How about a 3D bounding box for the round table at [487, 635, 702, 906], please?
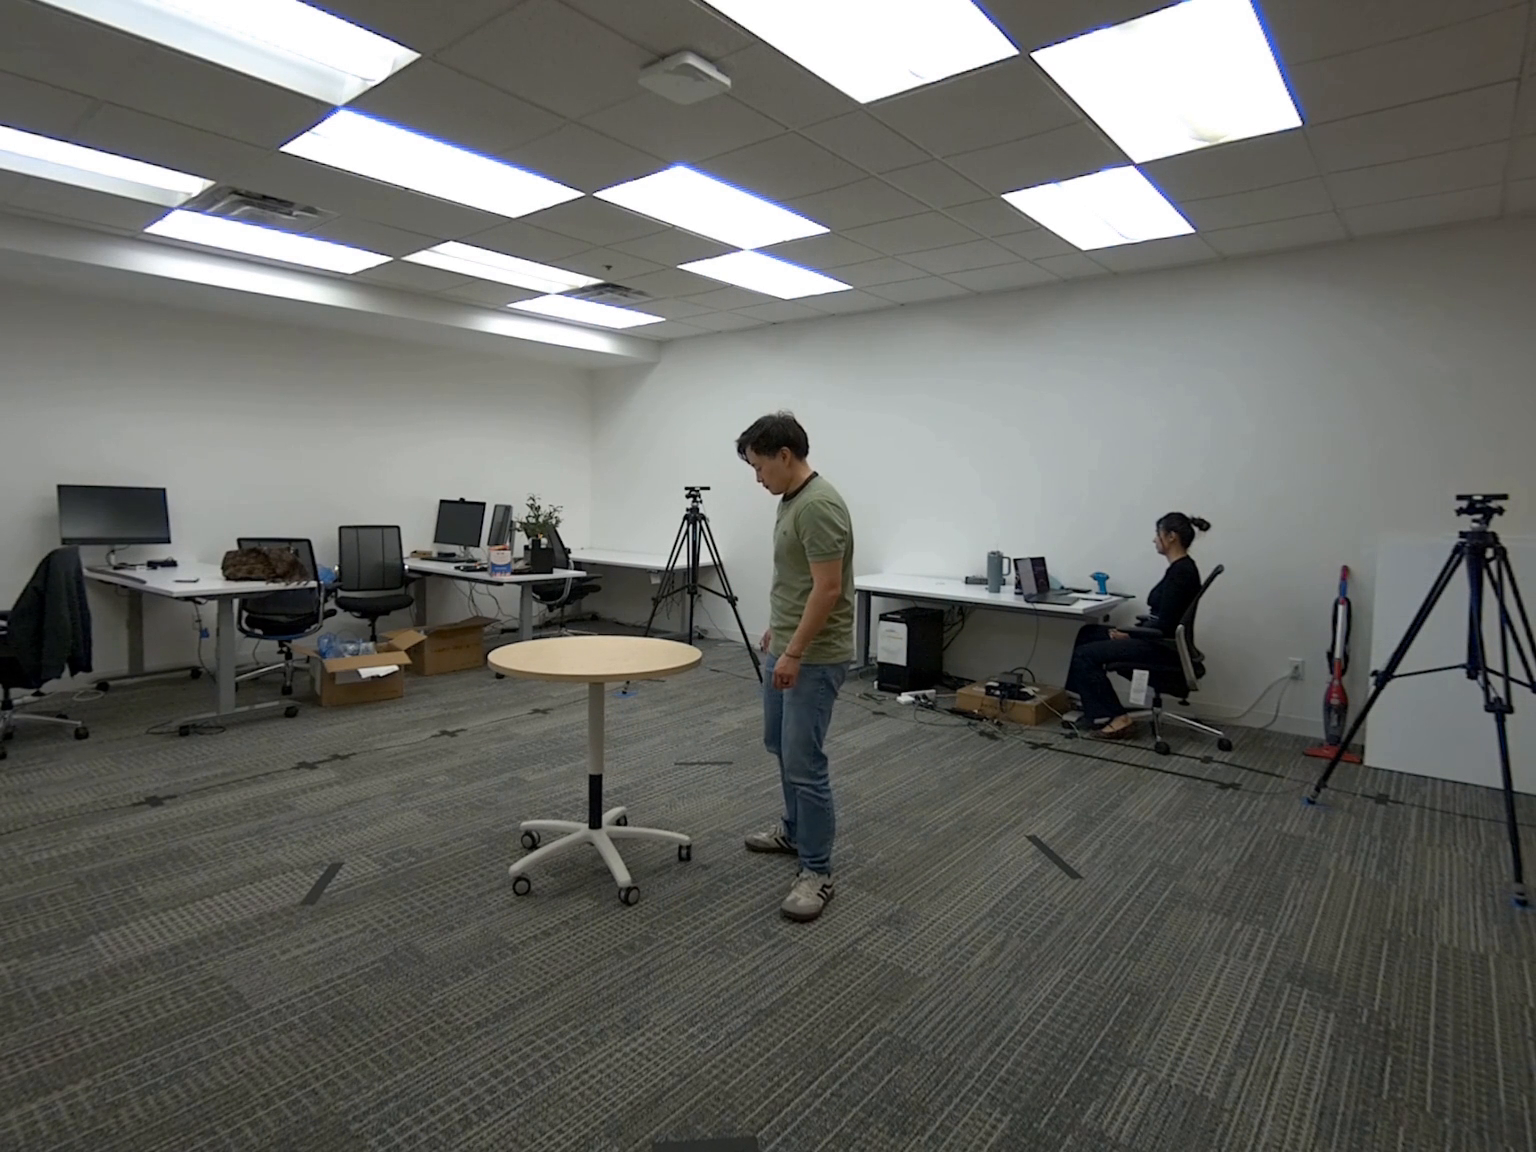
[{"bbox_3d":[-0.635,0.671,3.109,0.763,0.792,0.767,1,4,-2],"label":"round table"}]
